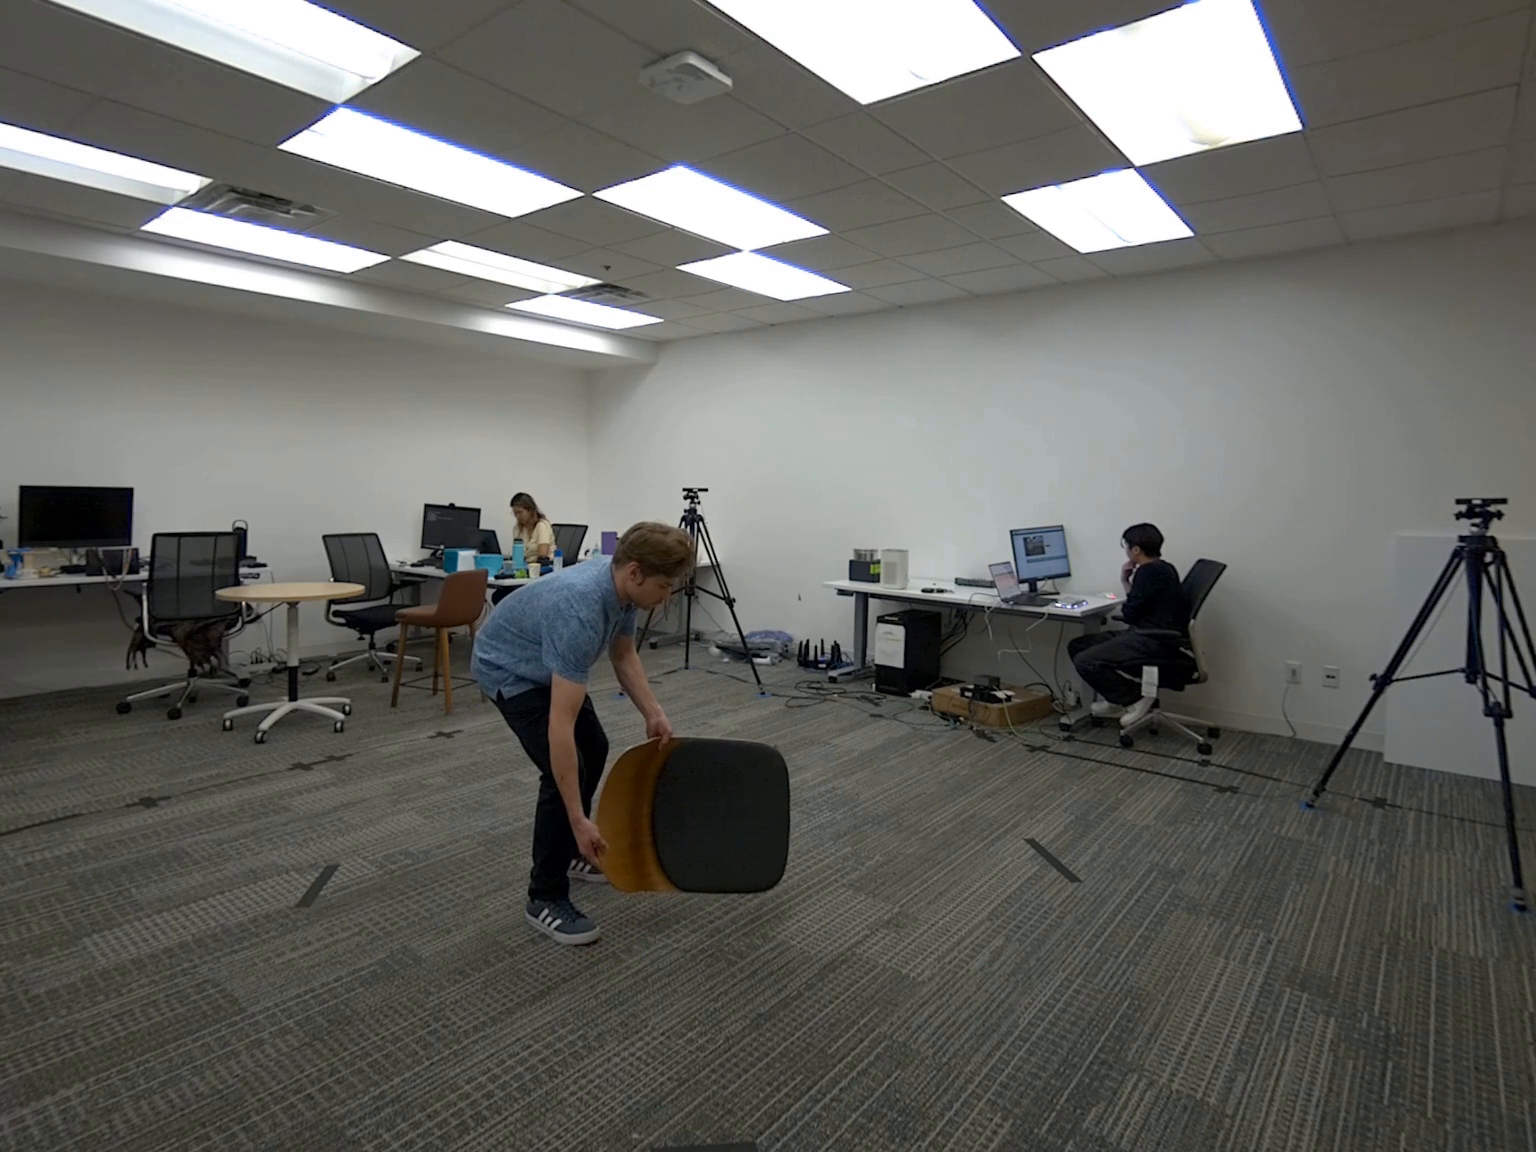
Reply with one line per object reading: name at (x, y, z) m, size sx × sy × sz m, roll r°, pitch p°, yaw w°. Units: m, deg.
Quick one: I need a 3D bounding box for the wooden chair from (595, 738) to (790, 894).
wooden chair at (-0.203, 0.770, 2.747) m, size 0.527 × 0.484 × 0.860 m, roll 1°, pitch -12°, yaw 5°
